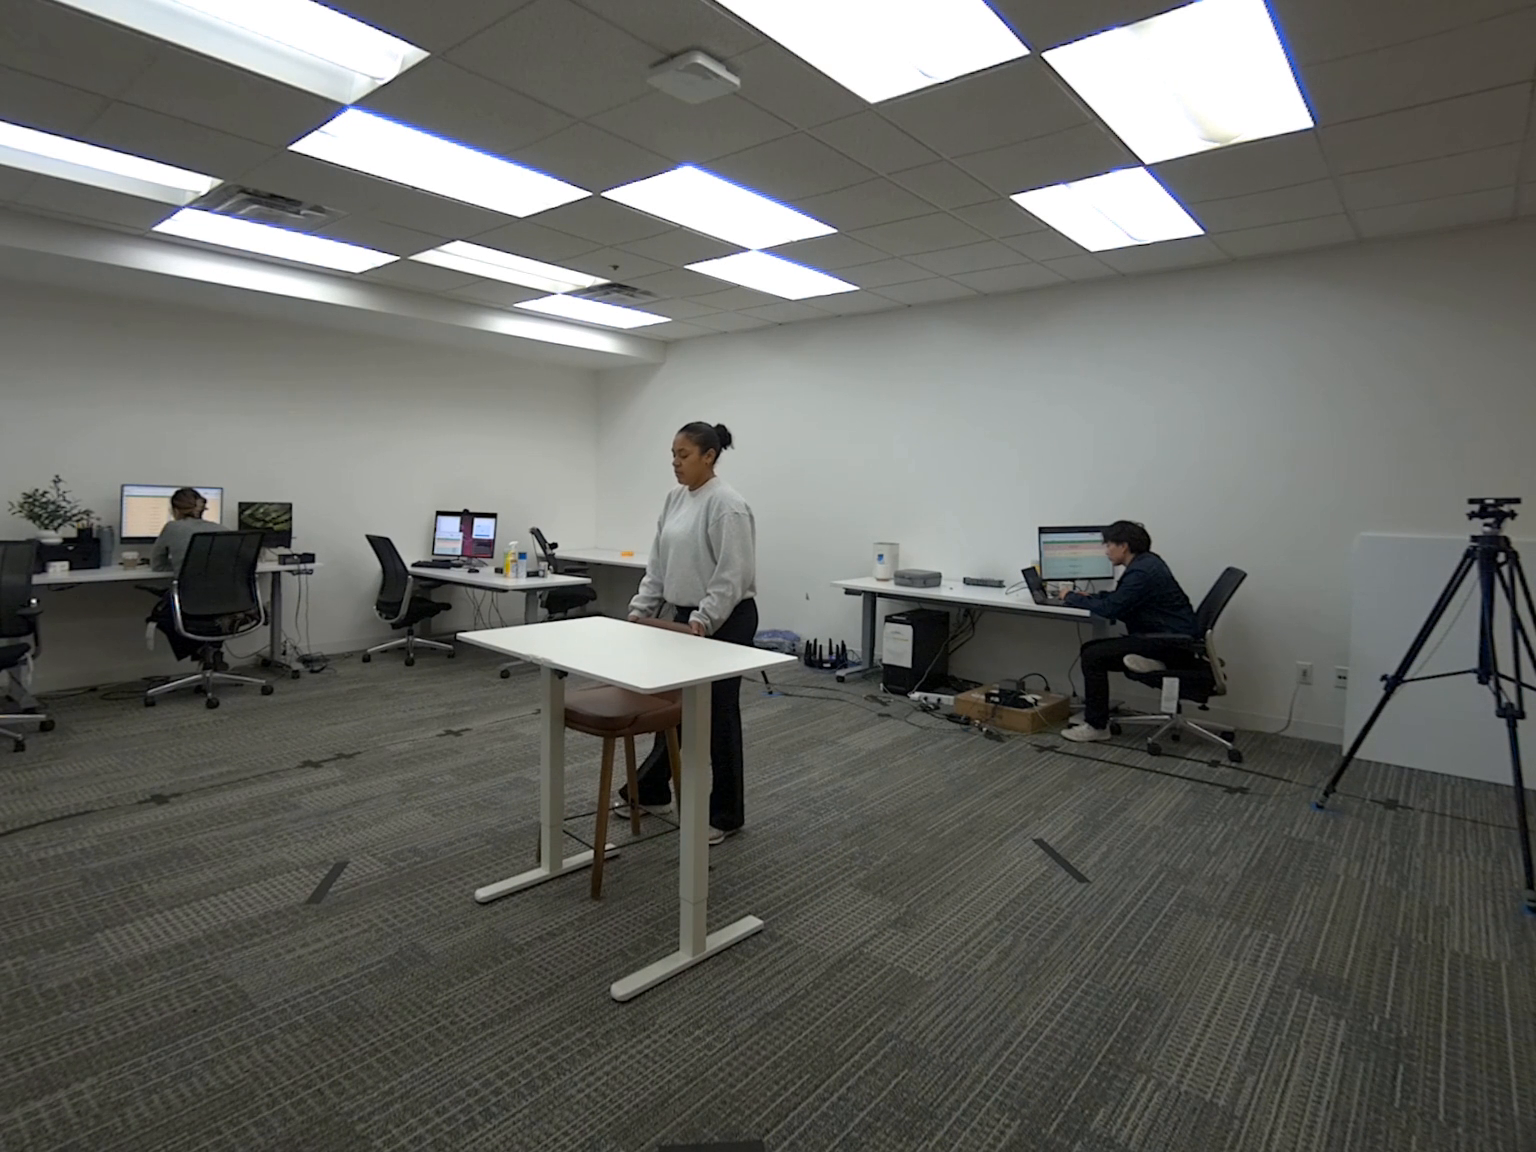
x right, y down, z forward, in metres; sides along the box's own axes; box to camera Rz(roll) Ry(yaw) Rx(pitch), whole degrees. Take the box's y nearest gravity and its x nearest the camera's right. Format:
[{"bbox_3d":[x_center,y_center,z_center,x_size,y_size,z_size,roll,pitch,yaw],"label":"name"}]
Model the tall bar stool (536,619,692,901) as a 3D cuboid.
[{"bbox_3d":[-0.549,0.619,3.126,0.453,0.889,0.472,1,2,-41],"label":"tall bar stool"}]
